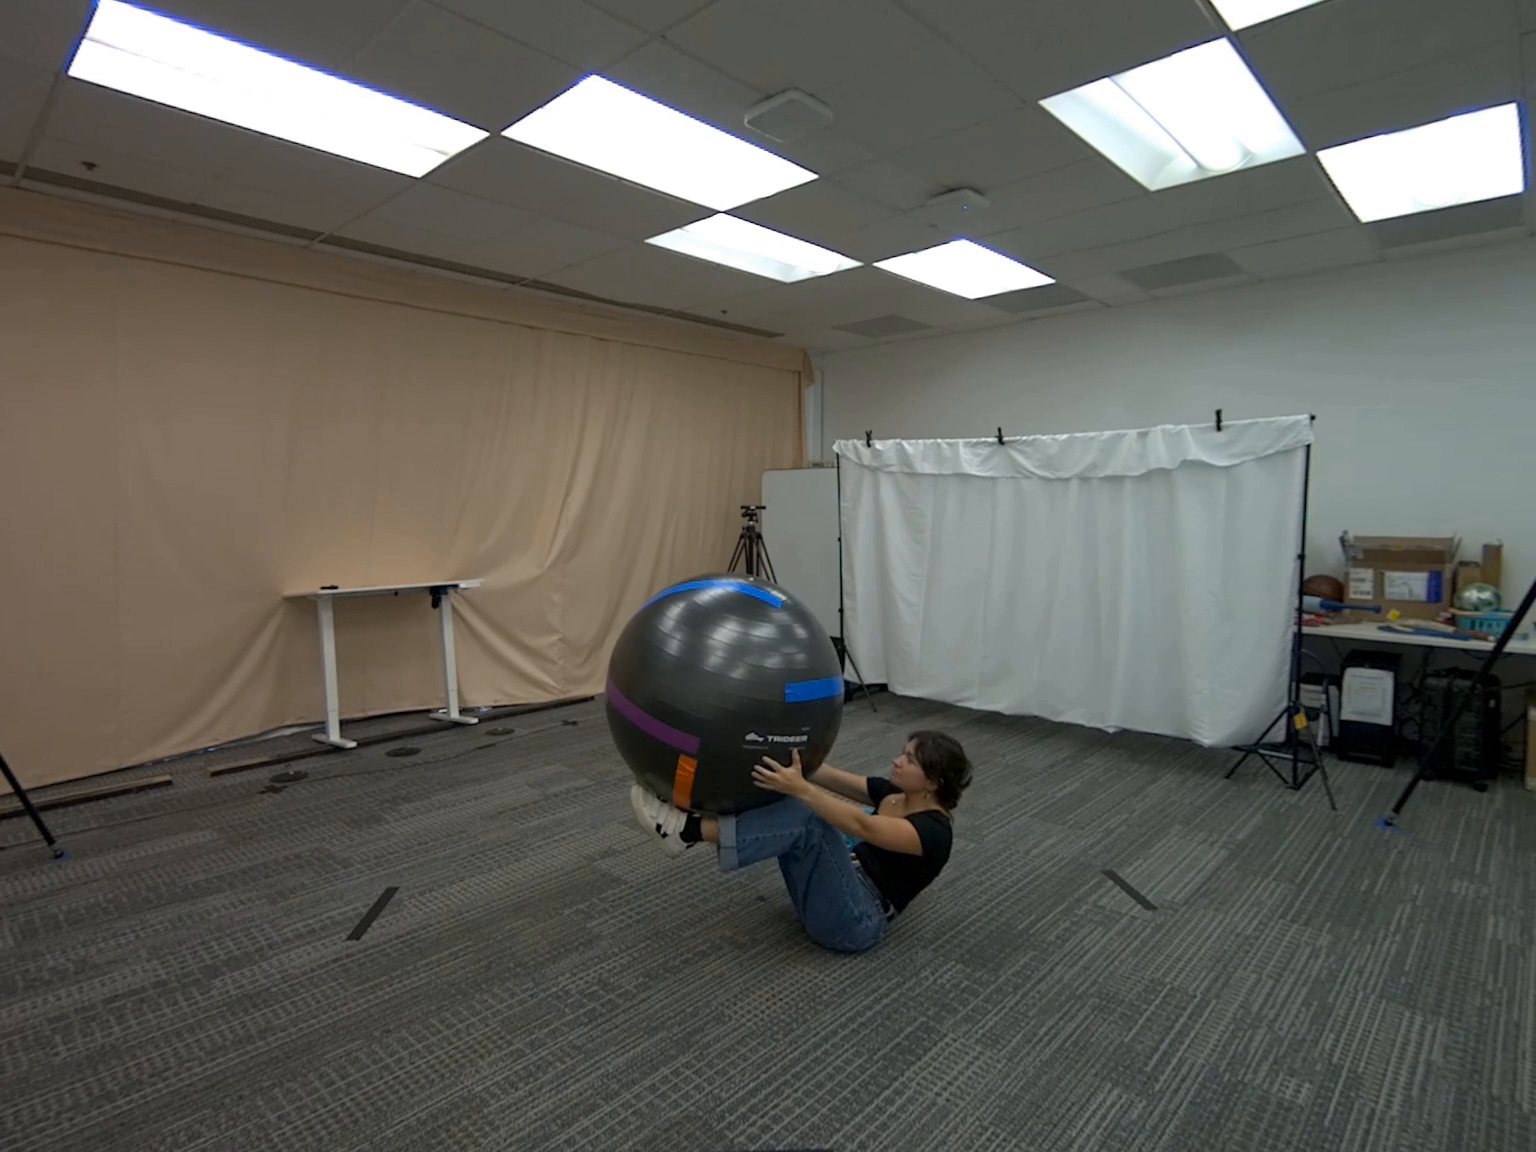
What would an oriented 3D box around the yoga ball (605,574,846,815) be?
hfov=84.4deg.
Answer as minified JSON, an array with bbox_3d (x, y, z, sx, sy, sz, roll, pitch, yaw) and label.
[{"bbox_3d":[-0.130,0.372,2.674,0.757,0.756,0.761,0,4,-2],"label":"yoga ball"}]
